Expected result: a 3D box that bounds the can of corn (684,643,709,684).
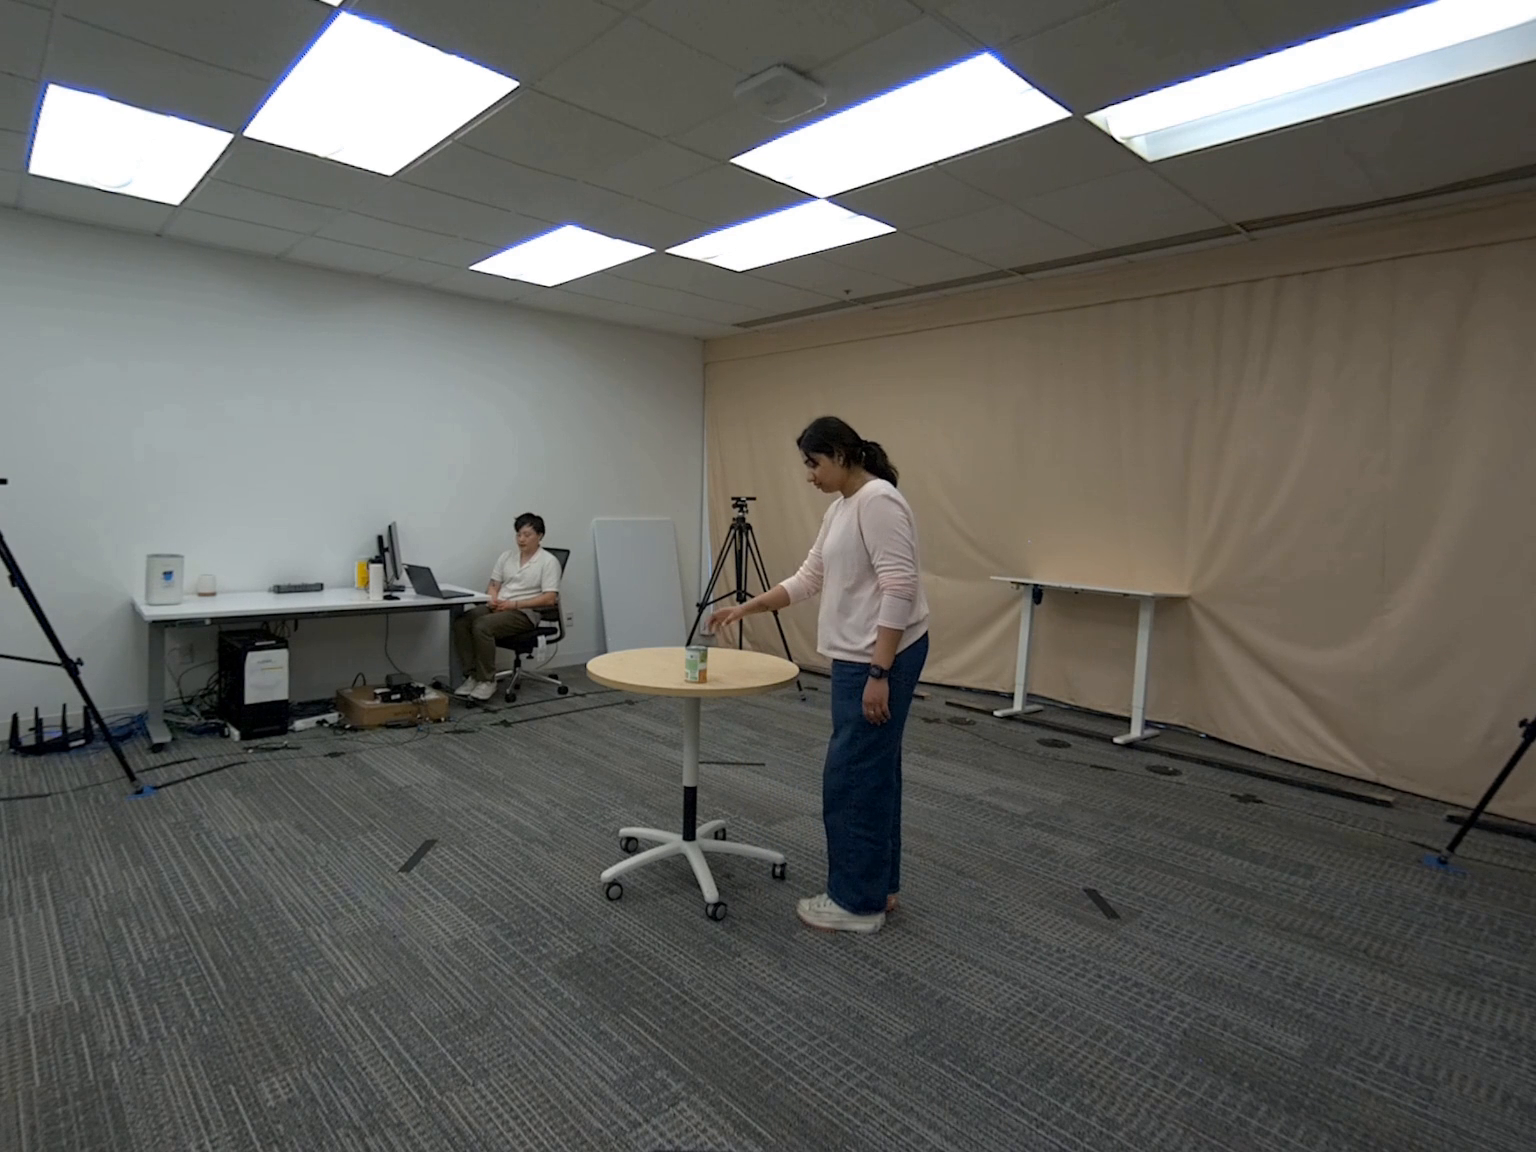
[{"bbox_3d":[-0.239,0.293,2.784,0.074,0.111,0.074,5,3,-2],"label":"can of corn"}]
